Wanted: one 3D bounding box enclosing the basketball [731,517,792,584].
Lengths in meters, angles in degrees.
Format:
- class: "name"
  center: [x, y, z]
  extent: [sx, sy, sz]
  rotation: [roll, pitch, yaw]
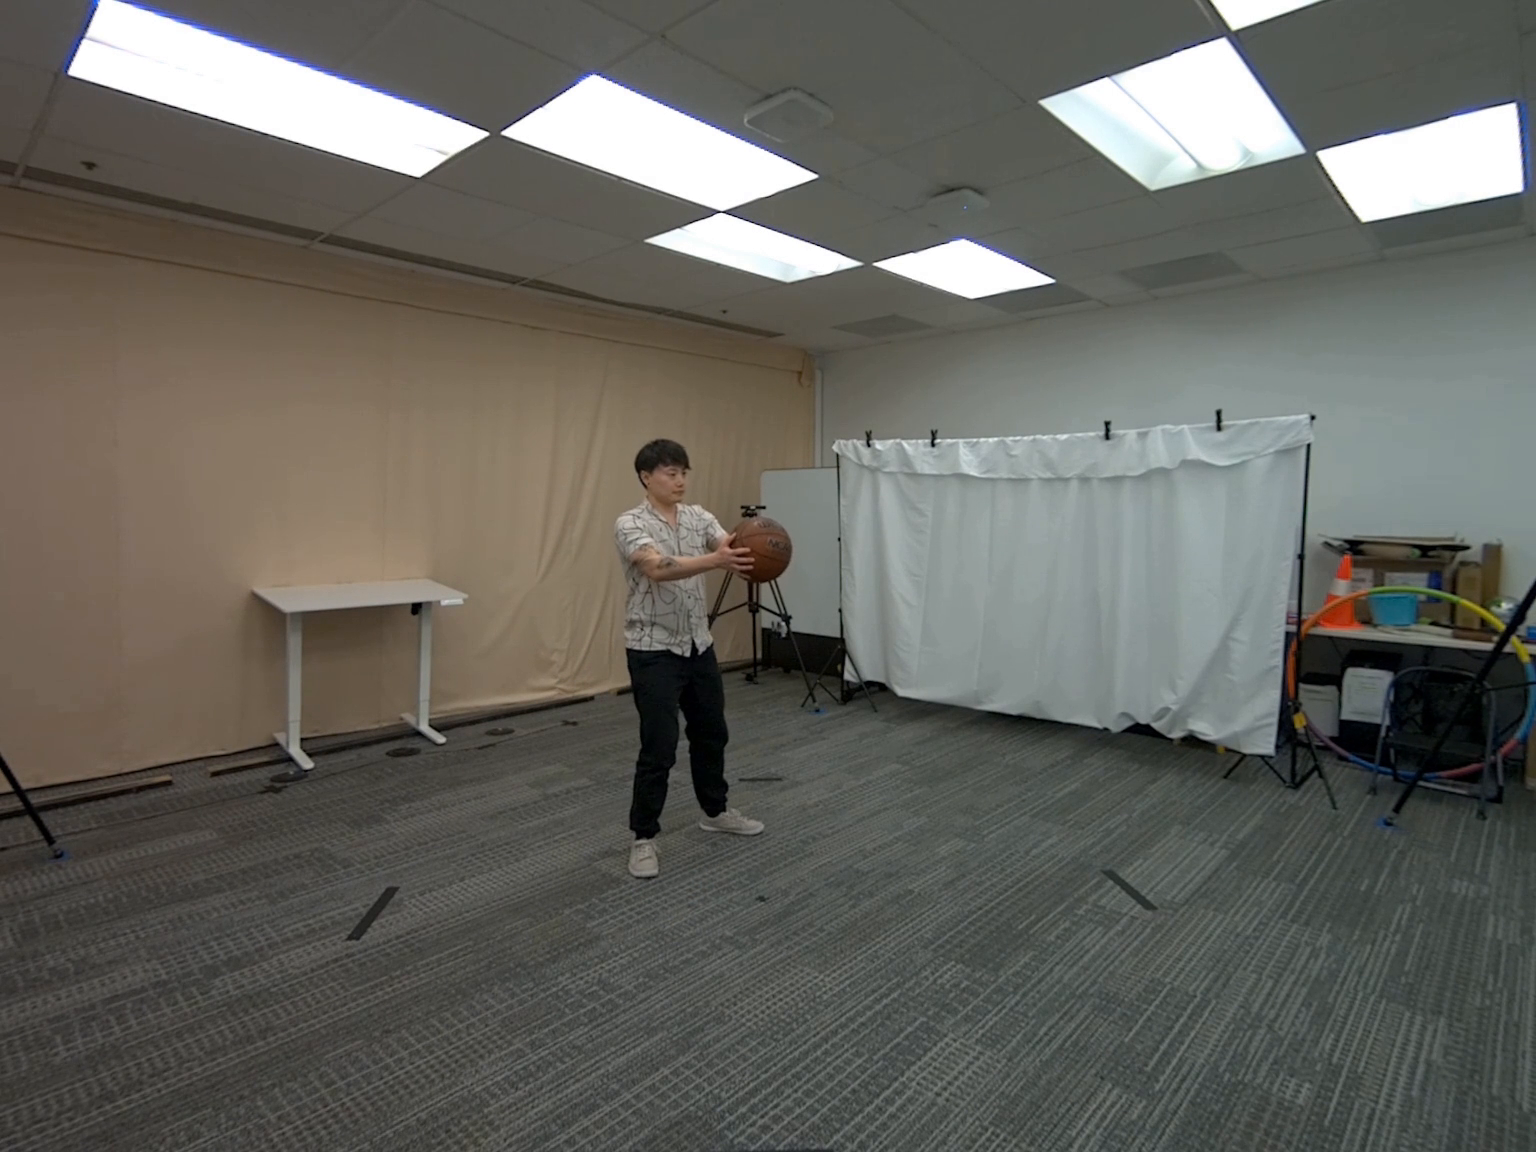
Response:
- class: "basketball"
  center: [-0.025, -0.092, 3.020]
  extent: [0.236, 0.235, 0.237]
  rotation: [0, 4, -2]
